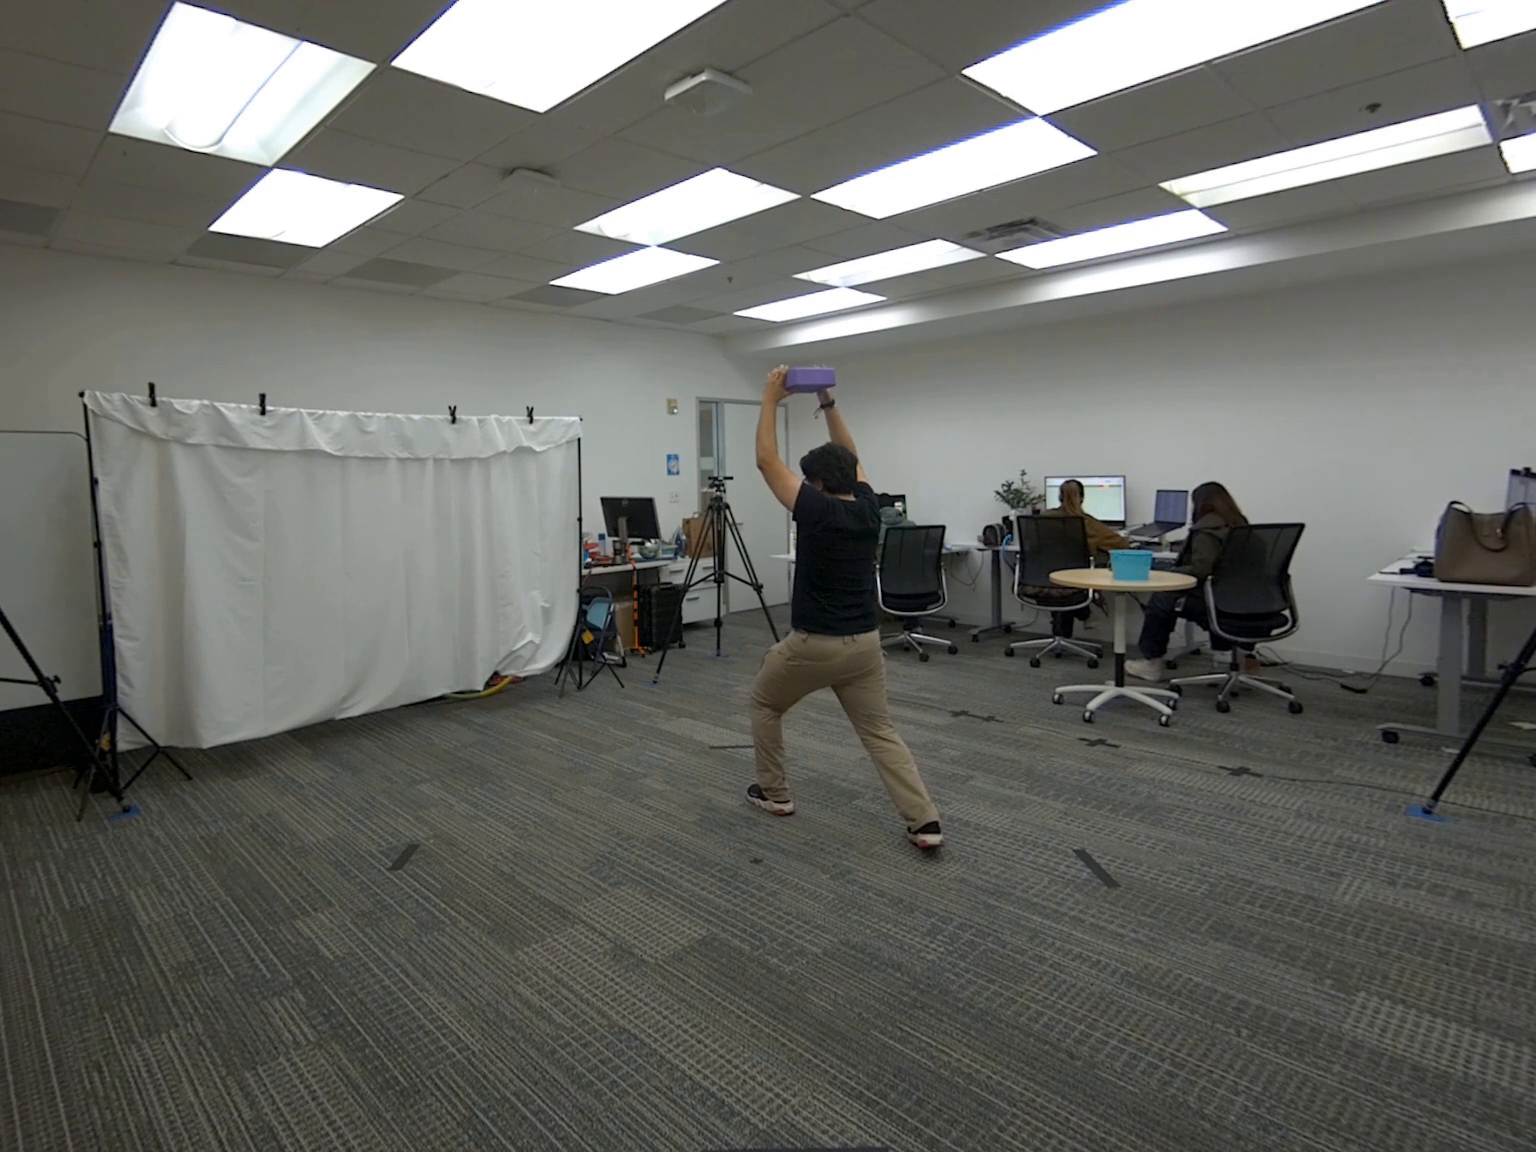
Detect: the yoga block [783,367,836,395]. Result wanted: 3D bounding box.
[{"bbox_3d":[0.153,-0.793,3.436,0.224,0.076,0.153,-11,6,-41],"label":"yoga block"}]
